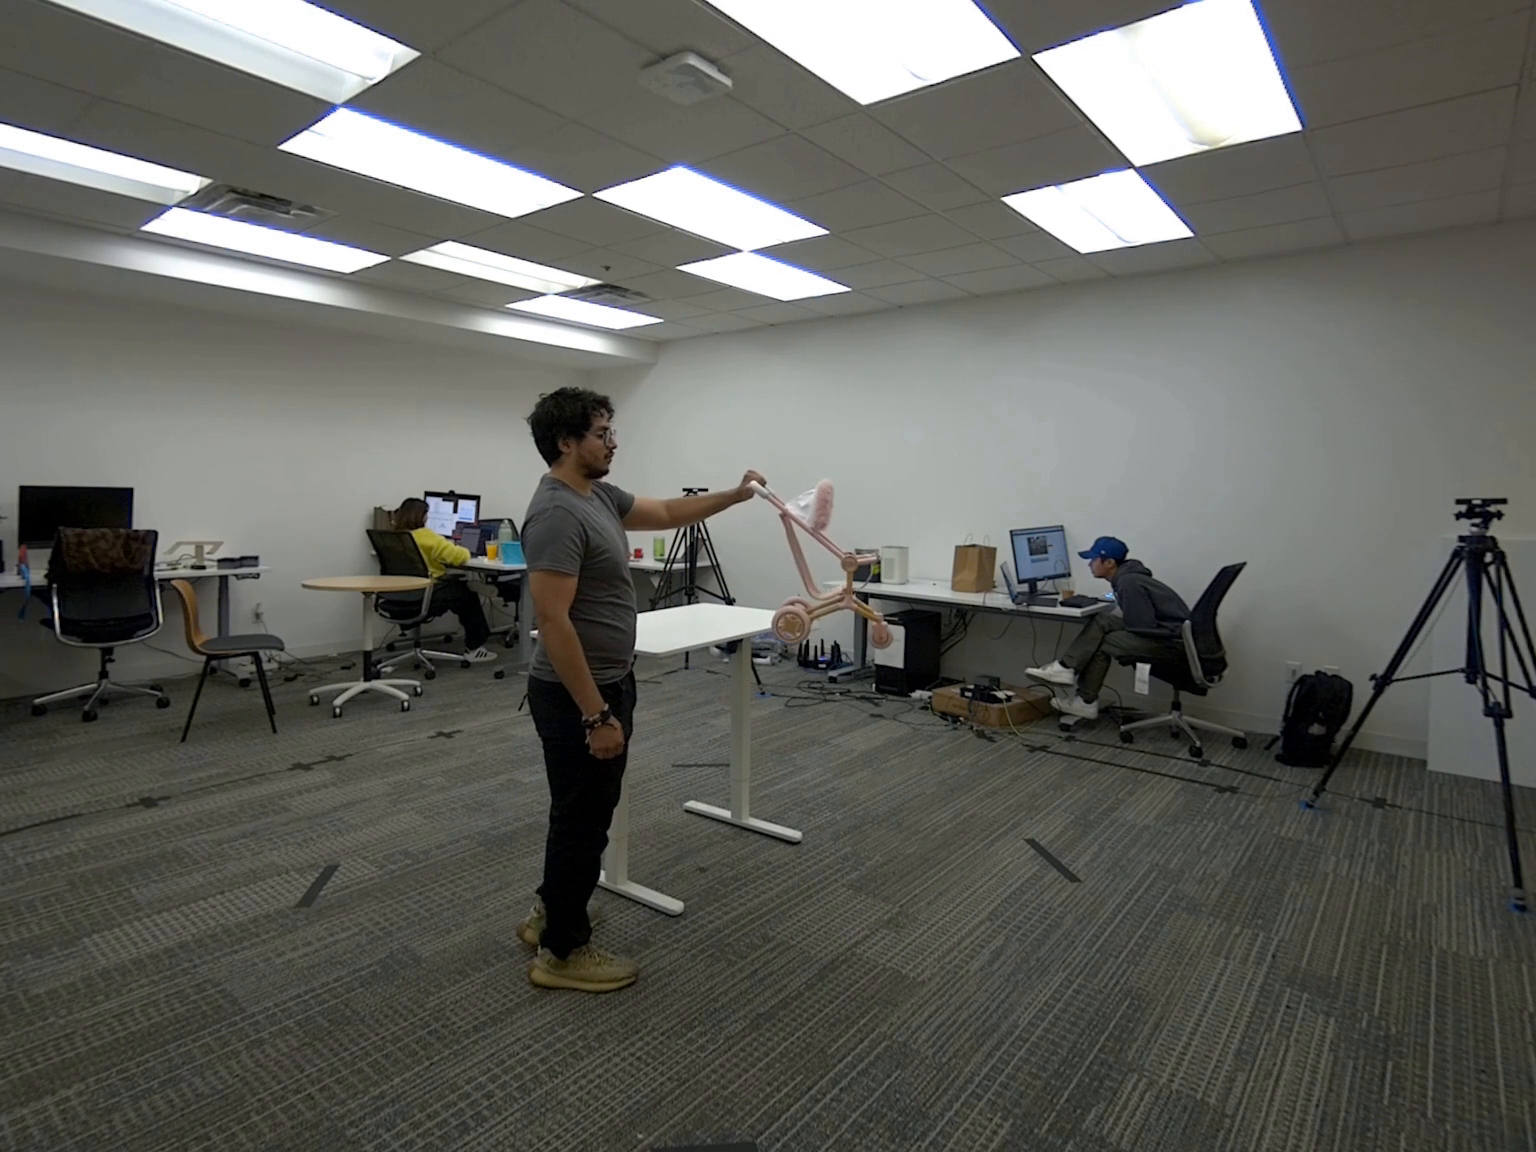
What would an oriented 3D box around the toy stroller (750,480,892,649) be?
[{"bbox_3d":[0.153,-0.036,2.461,0.345,0.535,0.278,-8,0,12],"label":"toy stroller"}]
